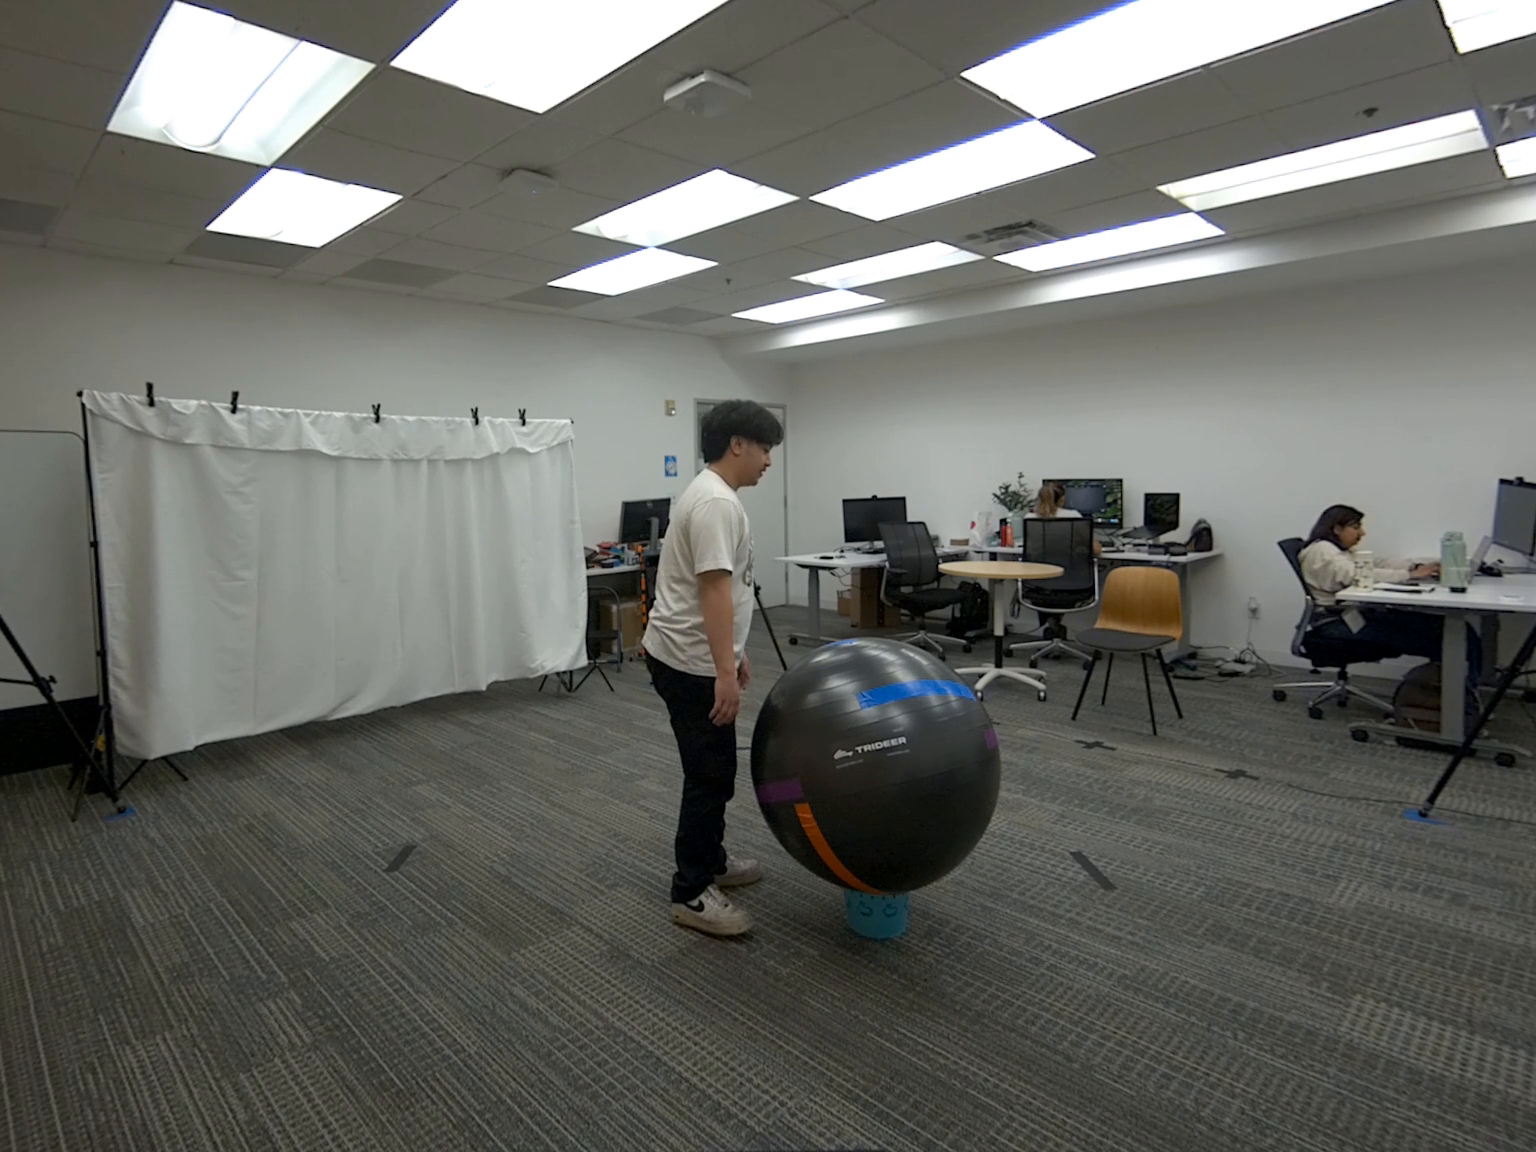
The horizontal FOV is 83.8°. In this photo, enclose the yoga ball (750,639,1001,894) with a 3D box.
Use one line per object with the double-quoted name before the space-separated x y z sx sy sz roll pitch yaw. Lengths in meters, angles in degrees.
"yoga ball" 0.323 0.571 2.640 0.757 0.755 0.762 -1 5 -2
